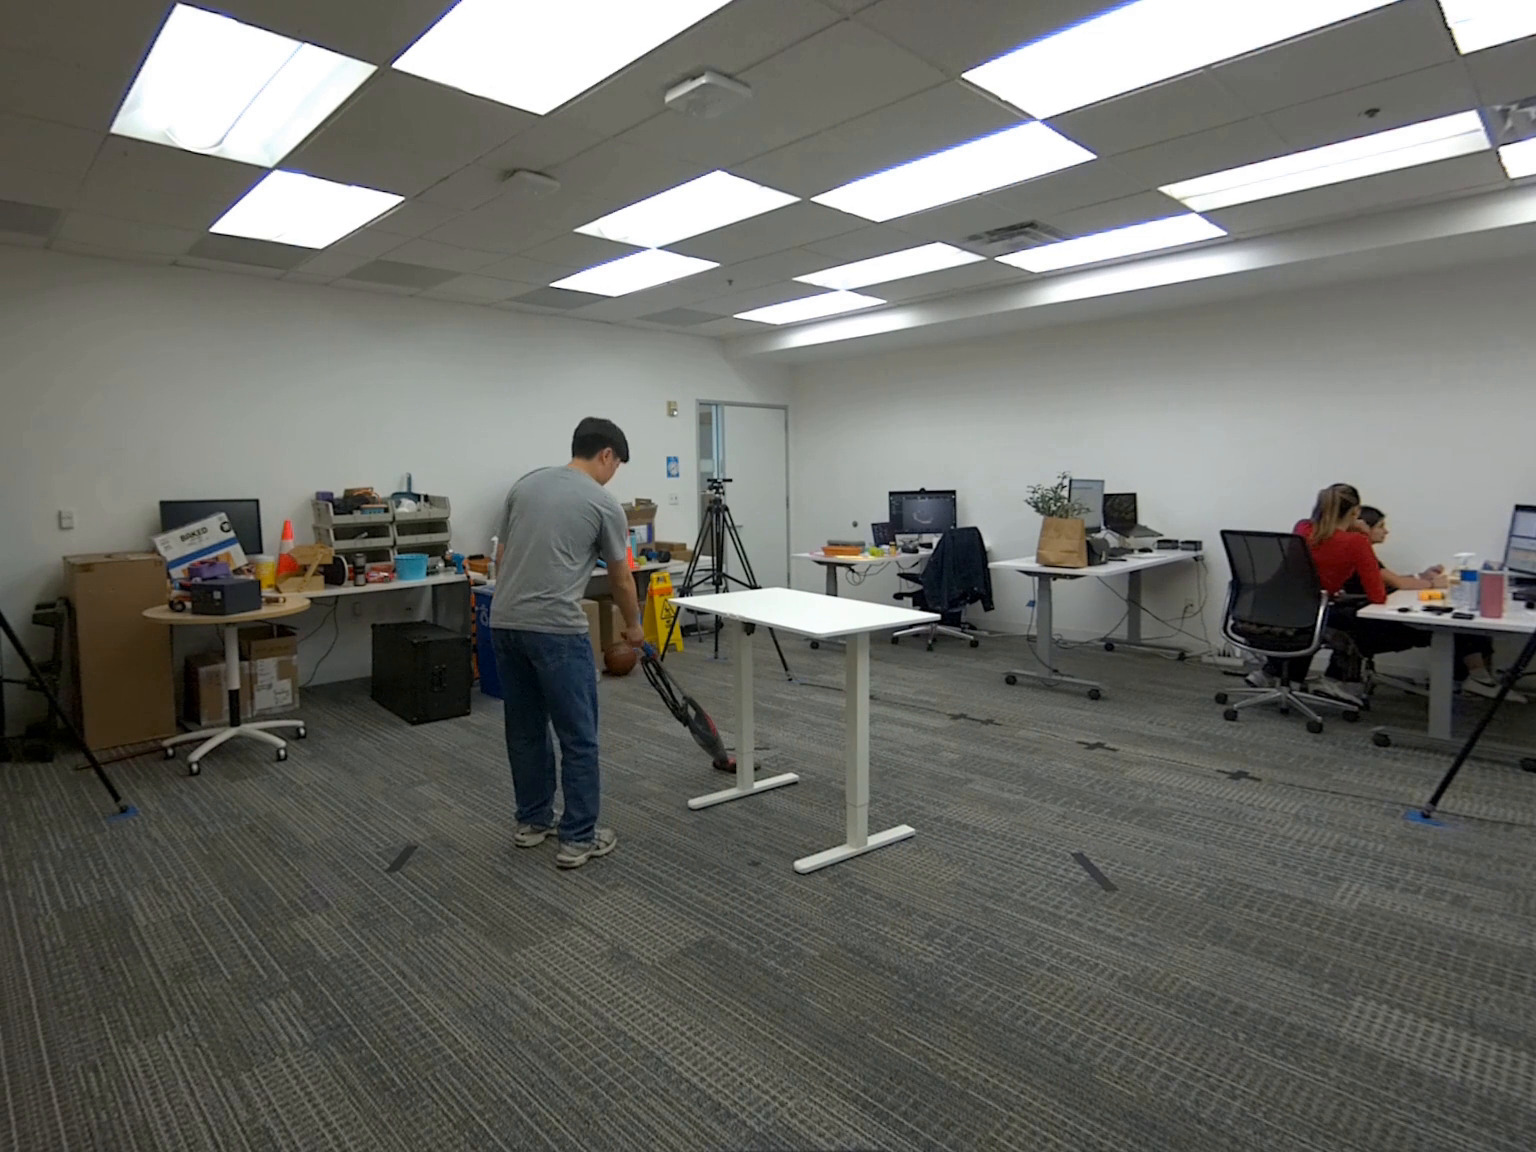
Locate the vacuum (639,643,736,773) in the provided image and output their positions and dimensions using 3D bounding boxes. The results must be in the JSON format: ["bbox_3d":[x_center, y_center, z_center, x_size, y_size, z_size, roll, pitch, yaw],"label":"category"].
[{"bbox_3d":[-0.393,0.585,3.837,0.259,0.146,1.010,-2,-42,30],"label":"vacuum"}]
